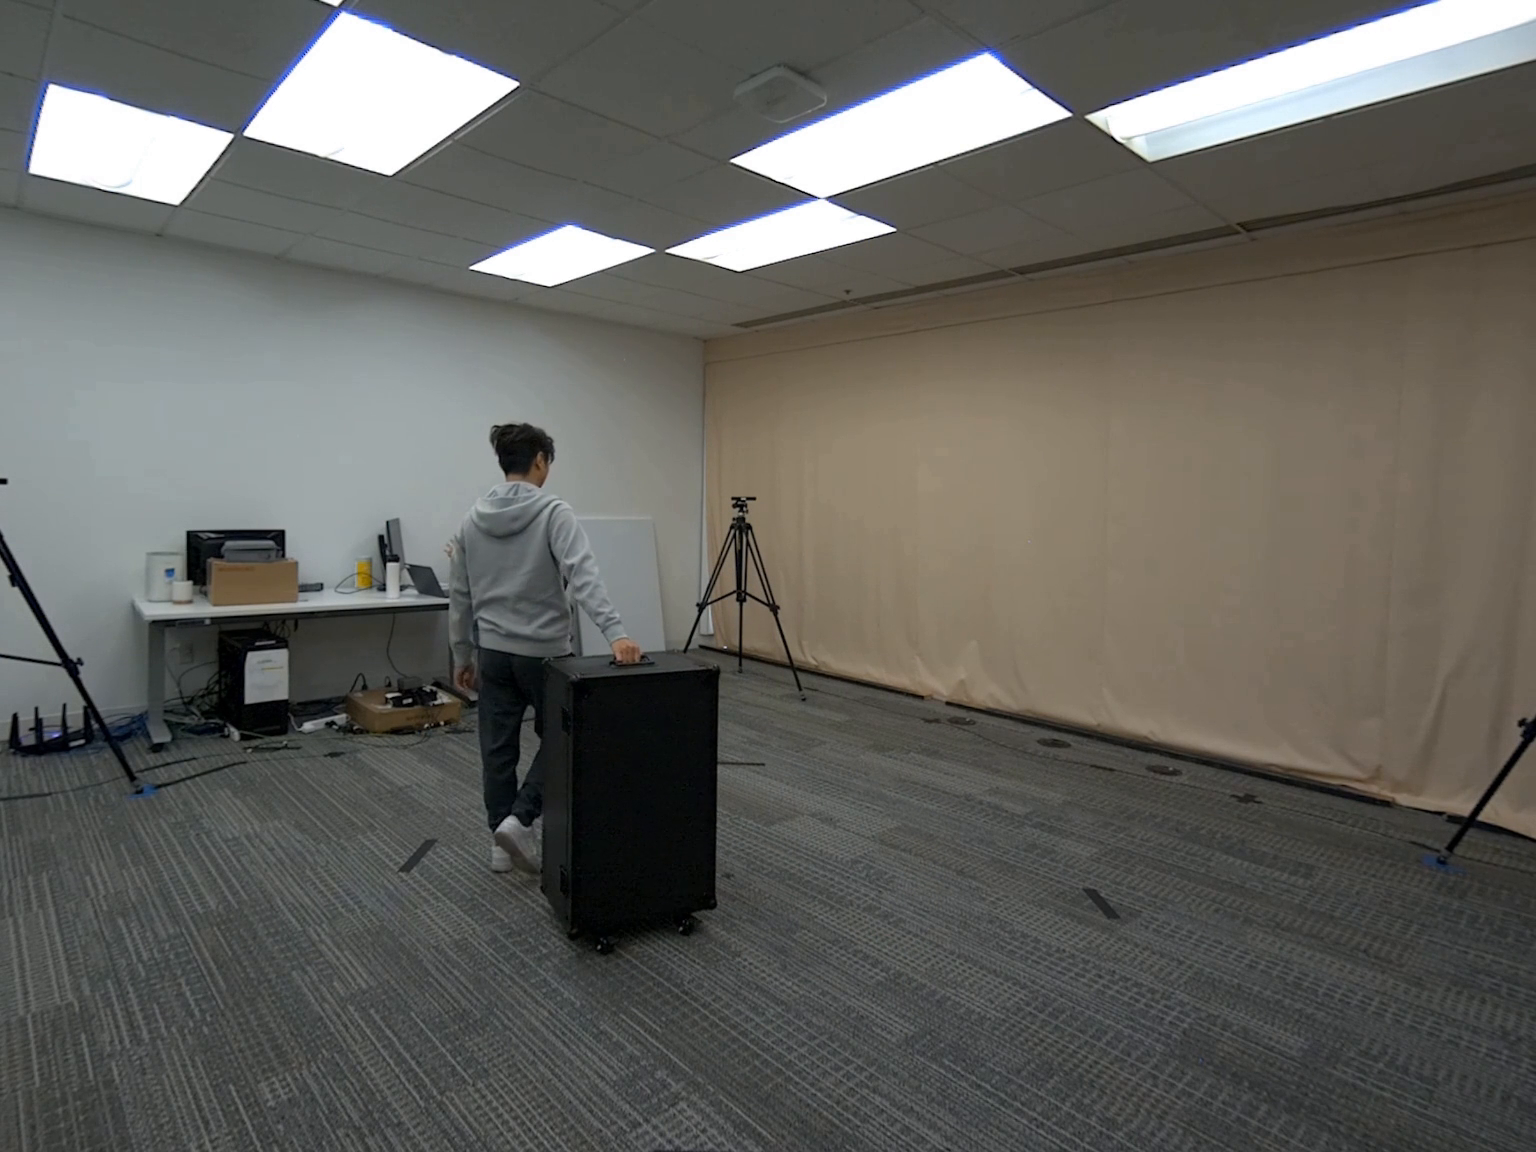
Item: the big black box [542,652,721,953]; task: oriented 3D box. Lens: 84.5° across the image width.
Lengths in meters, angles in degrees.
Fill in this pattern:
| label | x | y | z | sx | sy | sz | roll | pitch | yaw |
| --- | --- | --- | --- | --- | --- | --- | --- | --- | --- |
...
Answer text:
| label | x | y | z | sx | sy | sz | roll | pitch | yaw |
| --- | --- | --- | --- | --- | --- | --- | --- | --- | --- |
| big black box | -0.467 | 0.710 | 2.744 | 0.511 | 0.860 | 0.404 | -1 | 2 | -28 |
